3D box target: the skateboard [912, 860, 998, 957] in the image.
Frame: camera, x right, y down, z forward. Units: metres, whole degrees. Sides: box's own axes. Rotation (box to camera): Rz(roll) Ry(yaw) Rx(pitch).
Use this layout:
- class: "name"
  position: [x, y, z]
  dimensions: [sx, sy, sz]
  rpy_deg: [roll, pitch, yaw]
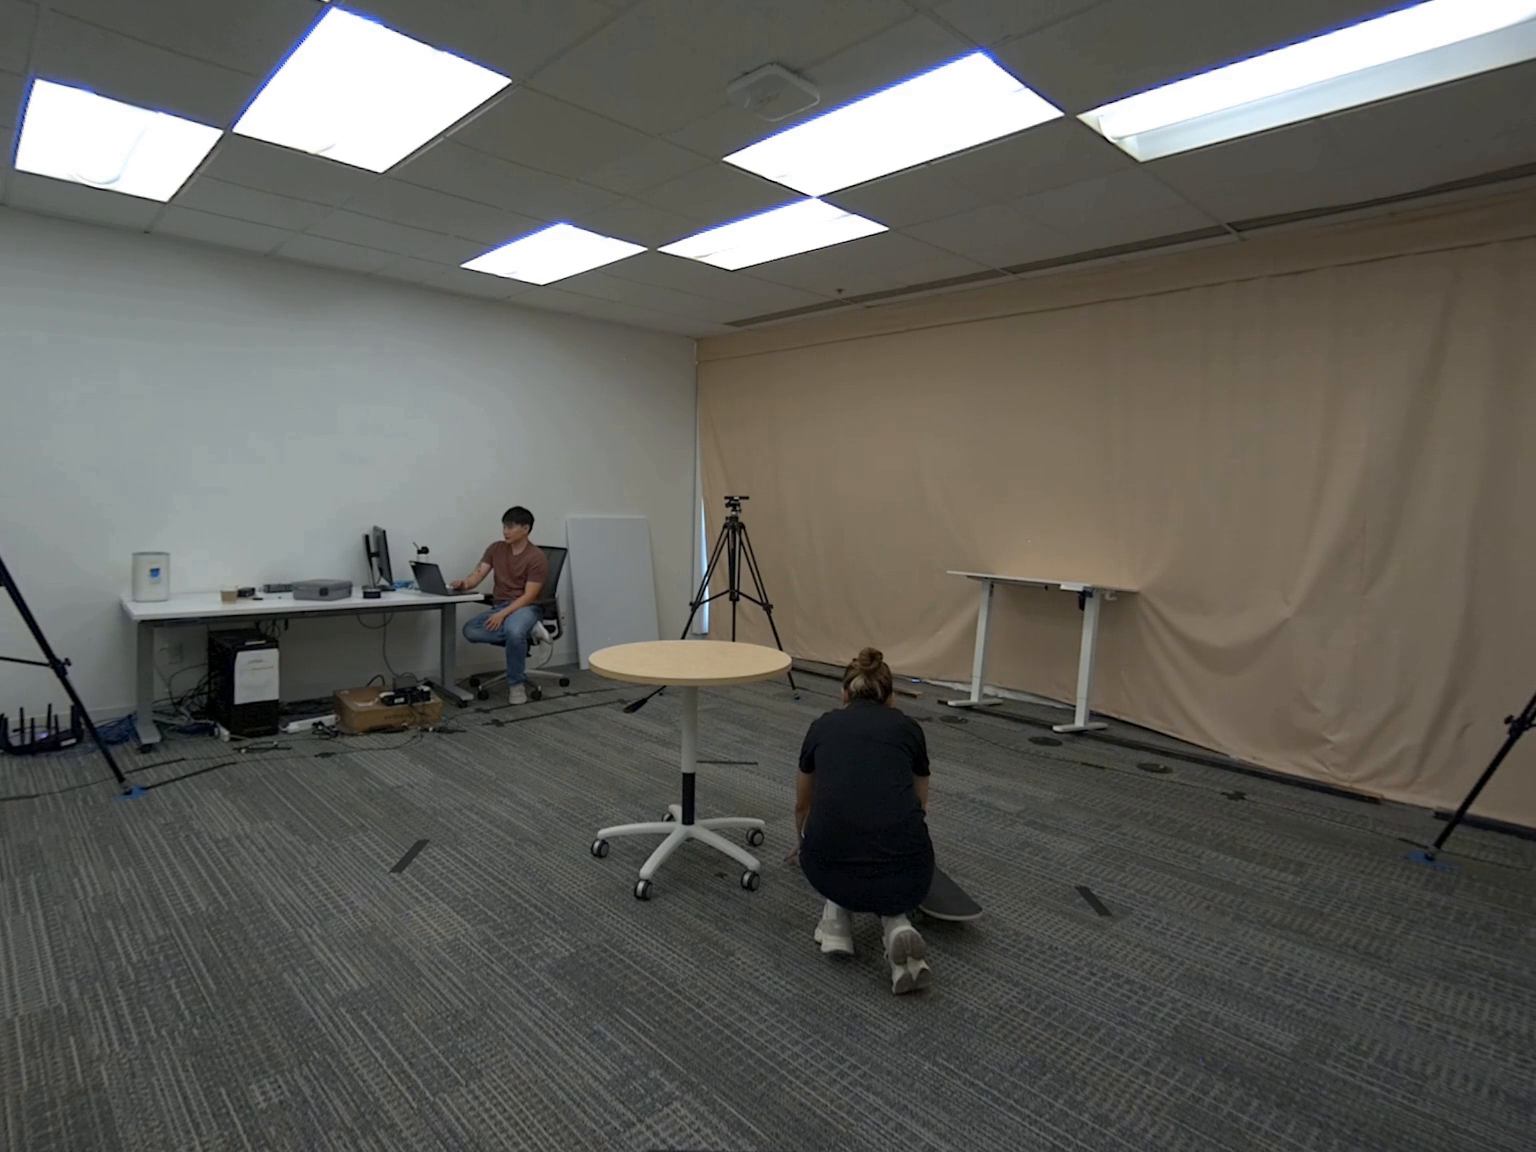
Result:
- class: "skateboard"
  position: [0.506, 1.075, 3.006]
  dimensions: [0.191, 0.110, 0.798]
  rpy_deg: [1, 6, -17]
